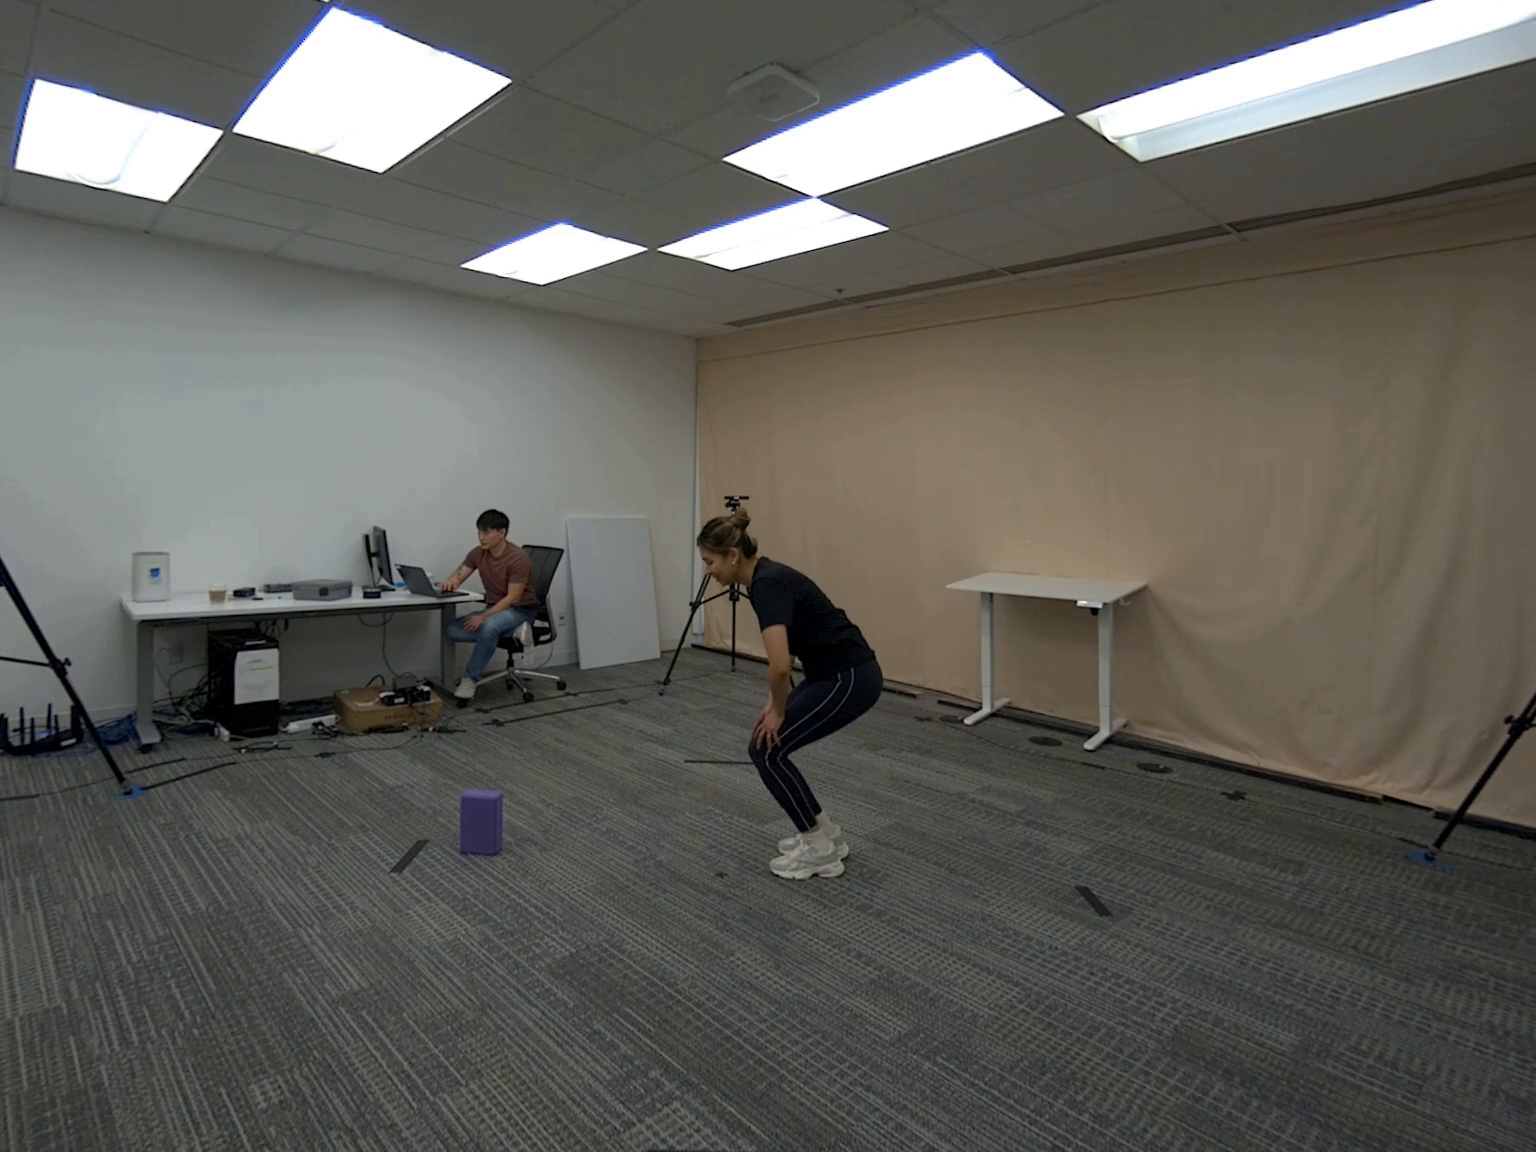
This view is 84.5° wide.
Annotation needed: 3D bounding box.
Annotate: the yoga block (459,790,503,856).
[{"bbox_3d":[-1.111,0.947,3.260,0.150,0.229,0.076,2,4,8],"label":"yoga block"}]
